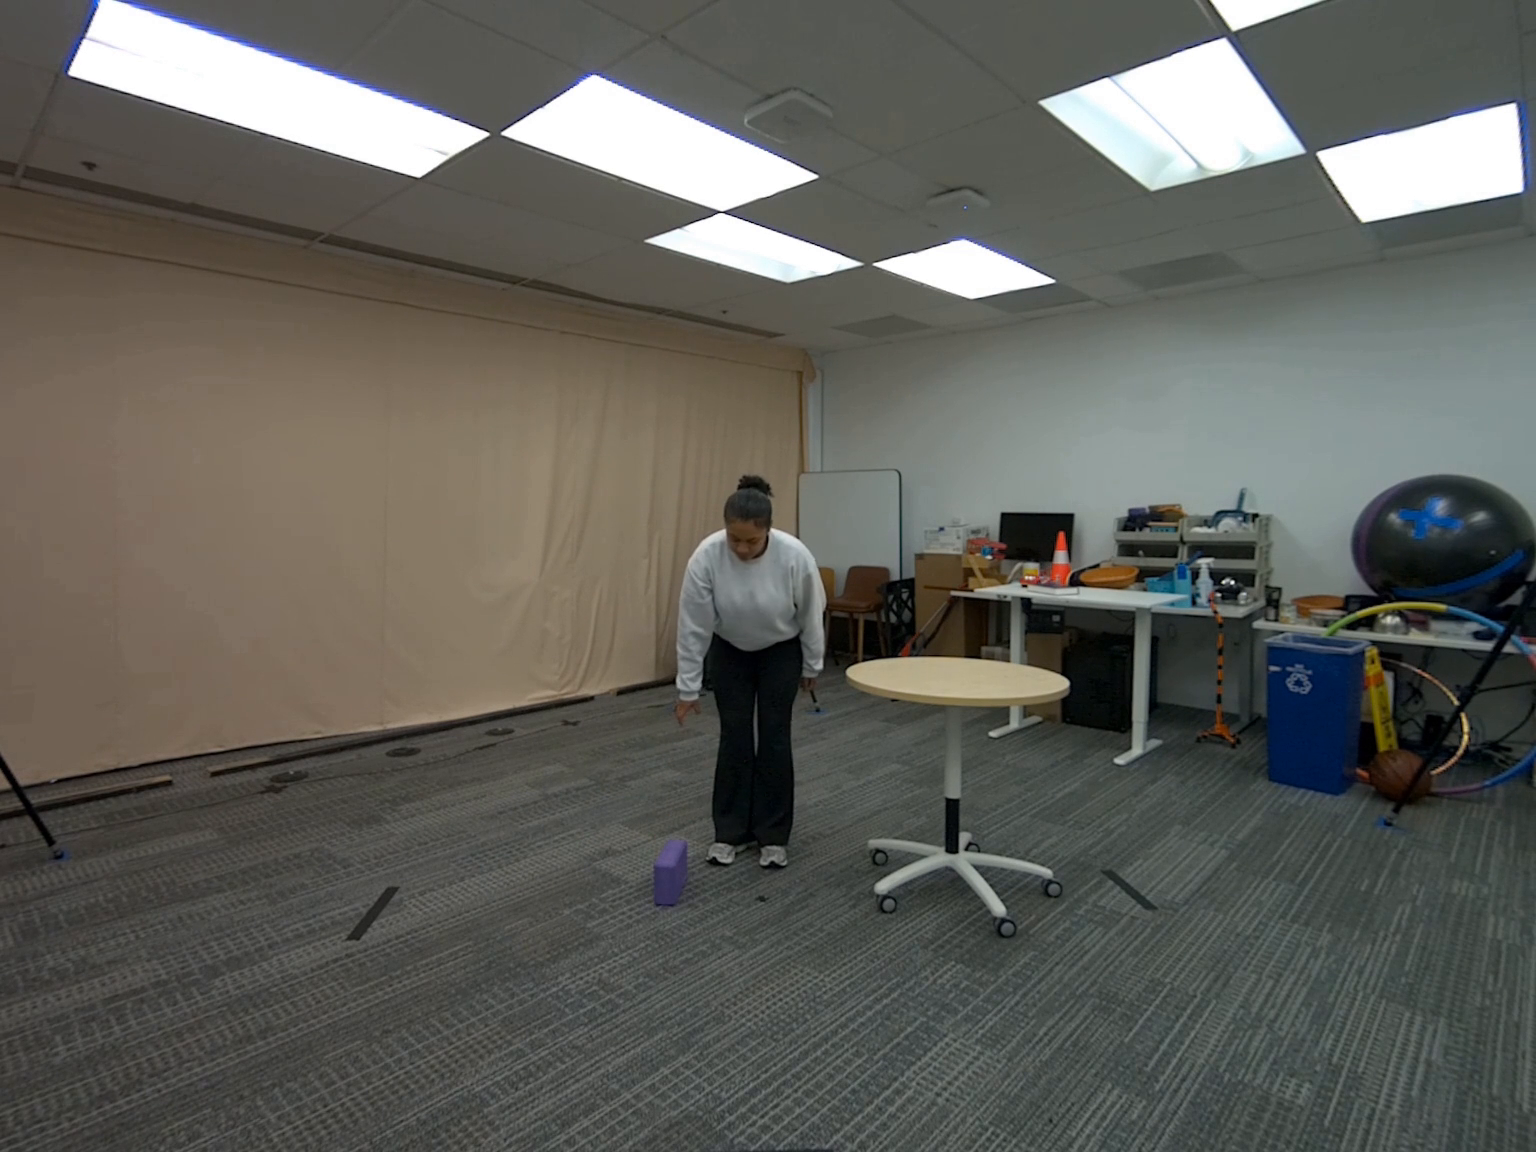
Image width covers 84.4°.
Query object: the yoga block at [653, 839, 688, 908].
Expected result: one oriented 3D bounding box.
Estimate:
[{"bbox_3d":[-0.351,1.068,3.035,0.077,0.148,0.228,-1,5,7],"label":"yoga block"}]
